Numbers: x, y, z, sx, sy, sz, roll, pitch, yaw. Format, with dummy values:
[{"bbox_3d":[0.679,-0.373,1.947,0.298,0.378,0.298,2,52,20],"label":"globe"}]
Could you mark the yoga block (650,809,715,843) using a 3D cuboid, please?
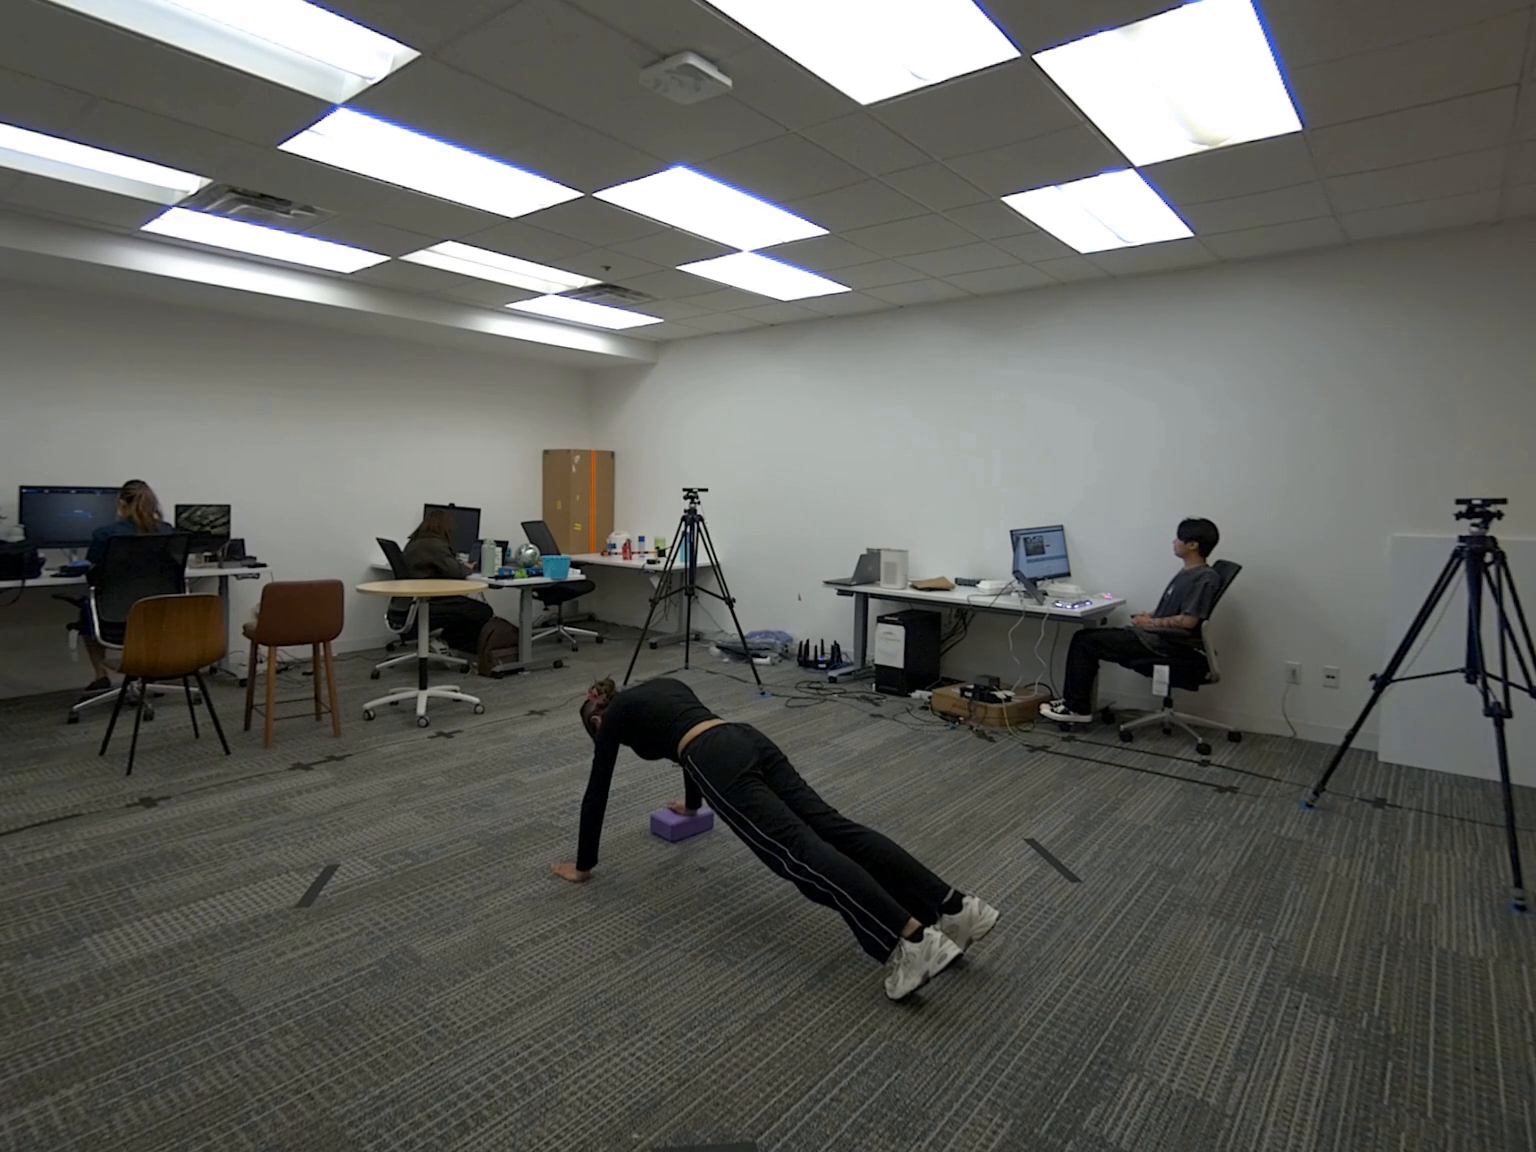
[{"bbox_3d":[-0.360,0.996,3.459,0.222,0.076,0.154,-2,6,-44],"label":"yoga block"}]
